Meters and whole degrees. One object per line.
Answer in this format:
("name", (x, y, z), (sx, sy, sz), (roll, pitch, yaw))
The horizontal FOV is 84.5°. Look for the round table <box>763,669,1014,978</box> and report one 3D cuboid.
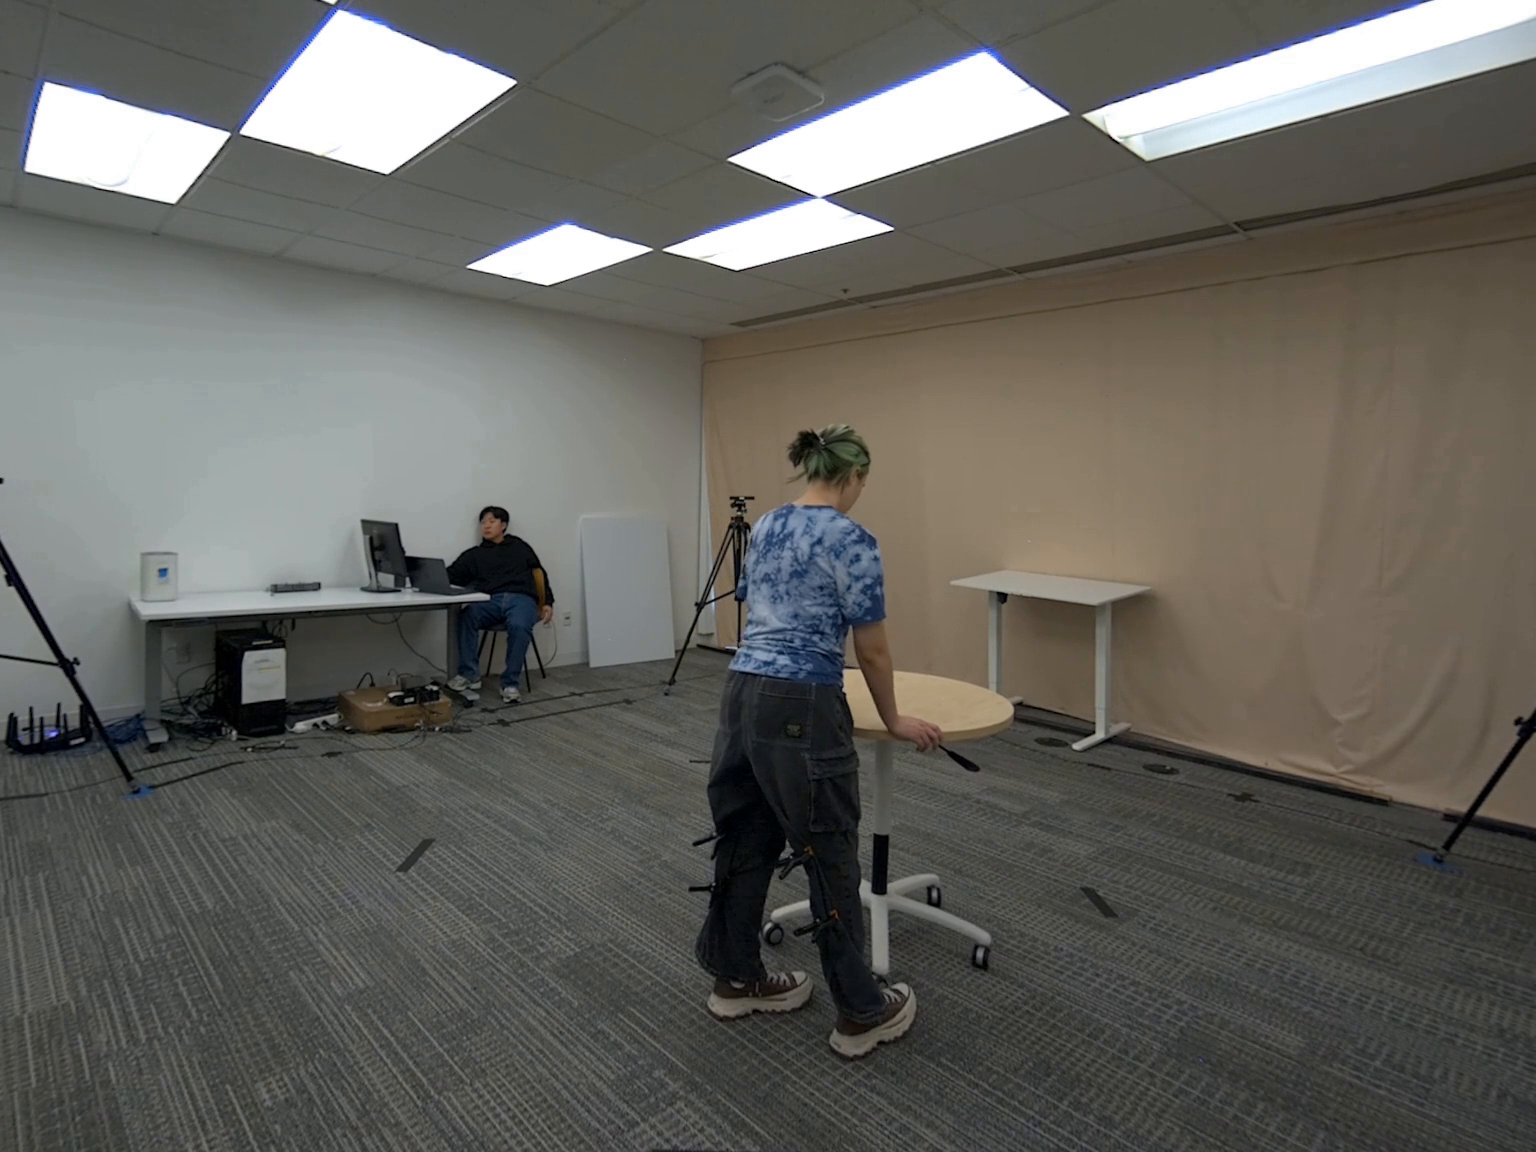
("round table", (0.361, 0.770, 2.678), (0.763, 0.791, 0.767), (1, 5, -1))
